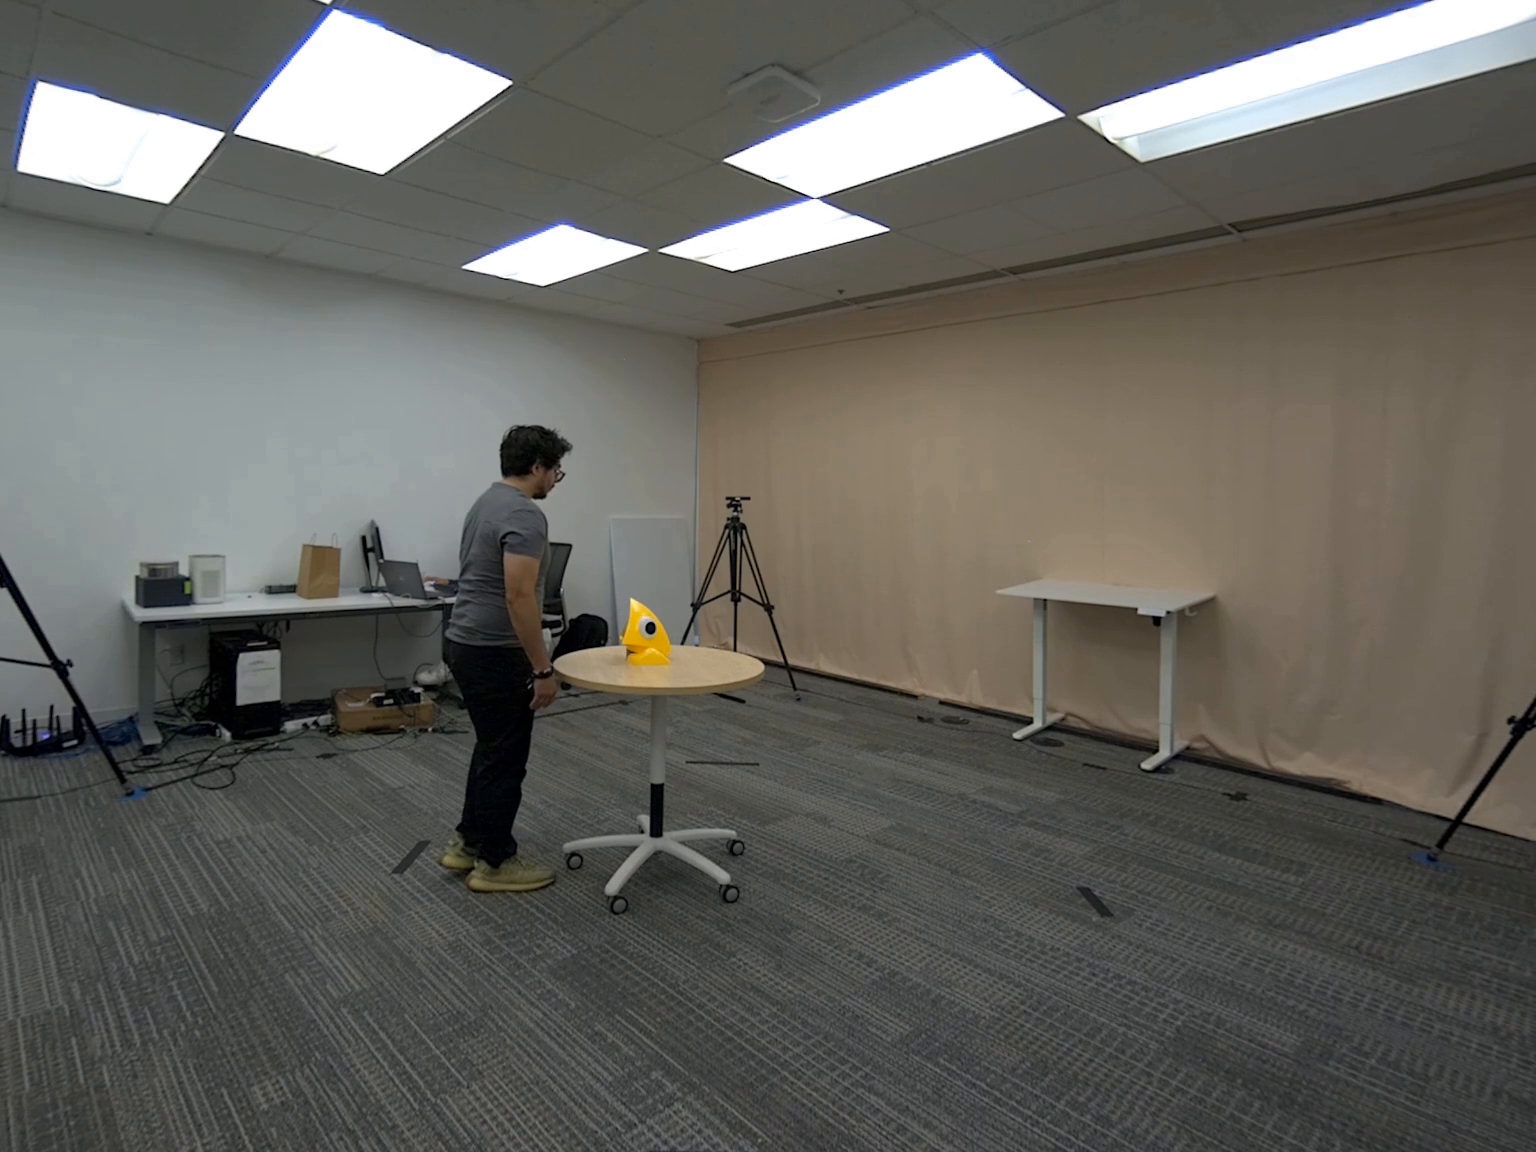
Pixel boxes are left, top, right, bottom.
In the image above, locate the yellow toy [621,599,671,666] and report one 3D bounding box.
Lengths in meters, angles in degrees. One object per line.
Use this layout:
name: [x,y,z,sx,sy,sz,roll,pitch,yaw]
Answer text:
yellow toy: [-0.463,0.197,3.125,0.191,0.230,0.207,1,4,-12]
